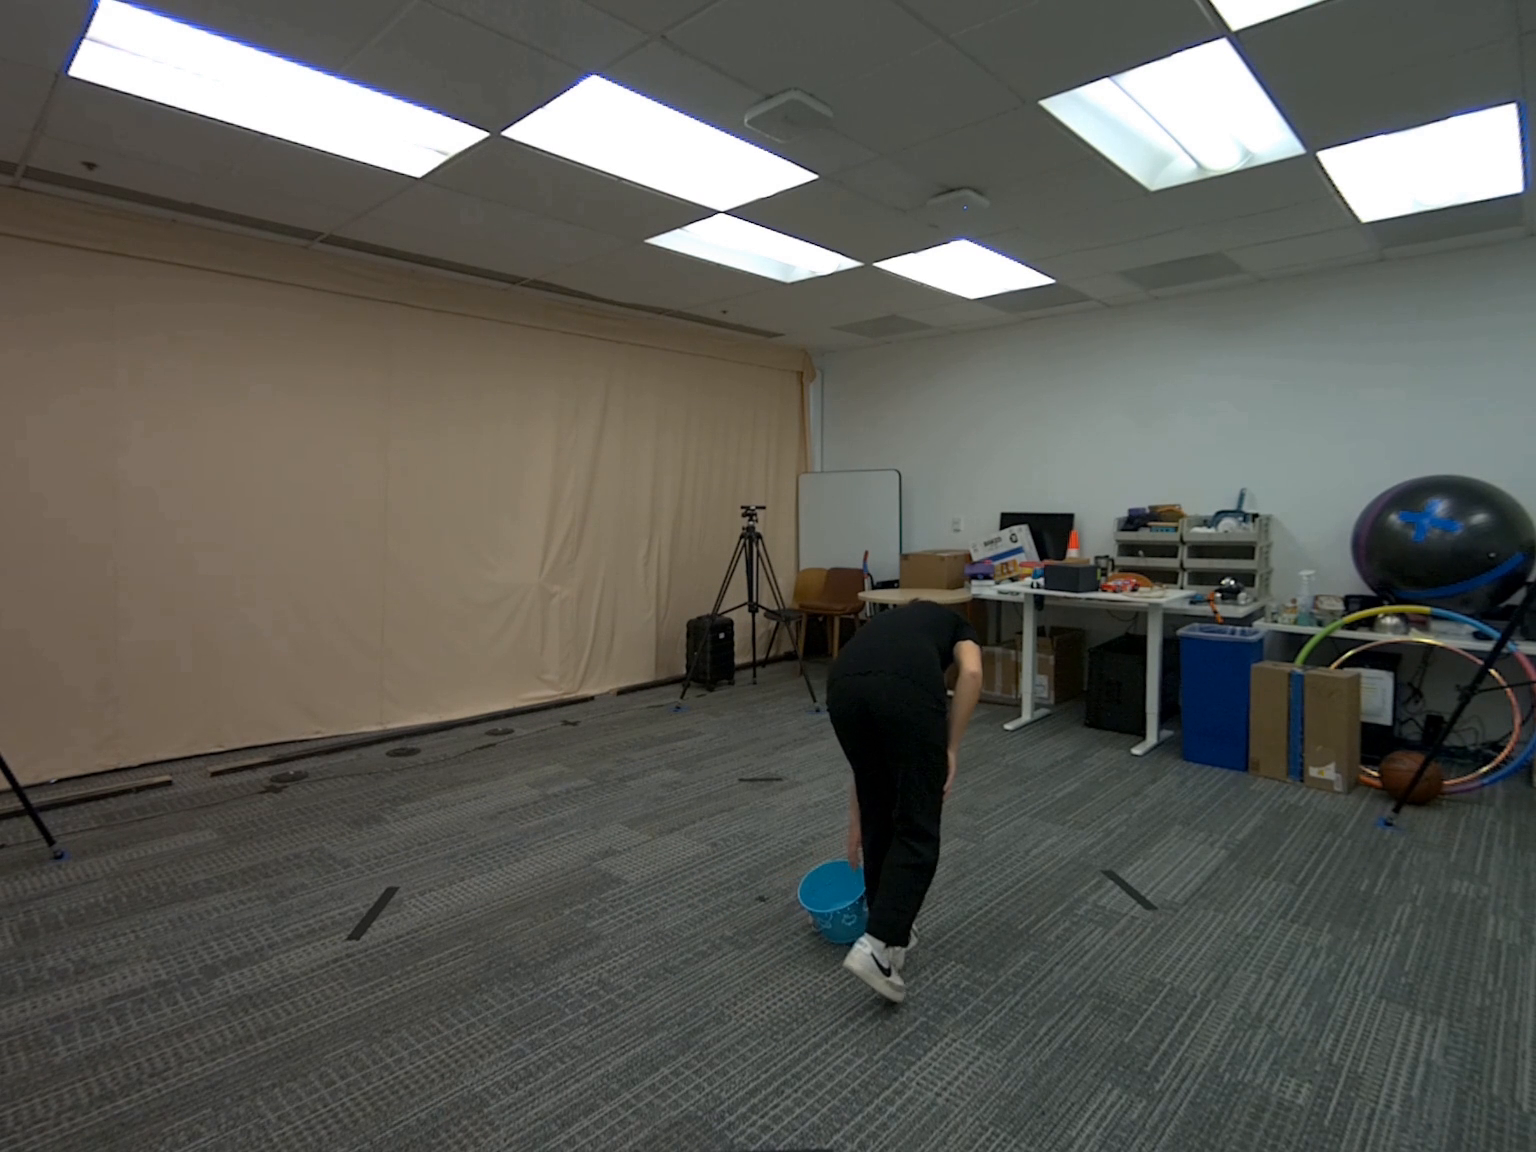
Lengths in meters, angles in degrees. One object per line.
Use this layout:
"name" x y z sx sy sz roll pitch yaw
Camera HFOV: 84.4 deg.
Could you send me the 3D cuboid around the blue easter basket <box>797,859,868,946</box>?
"blue easter basket" 0.230 1.062 2.720 0.244 0.153 0.246 -18 17 4
